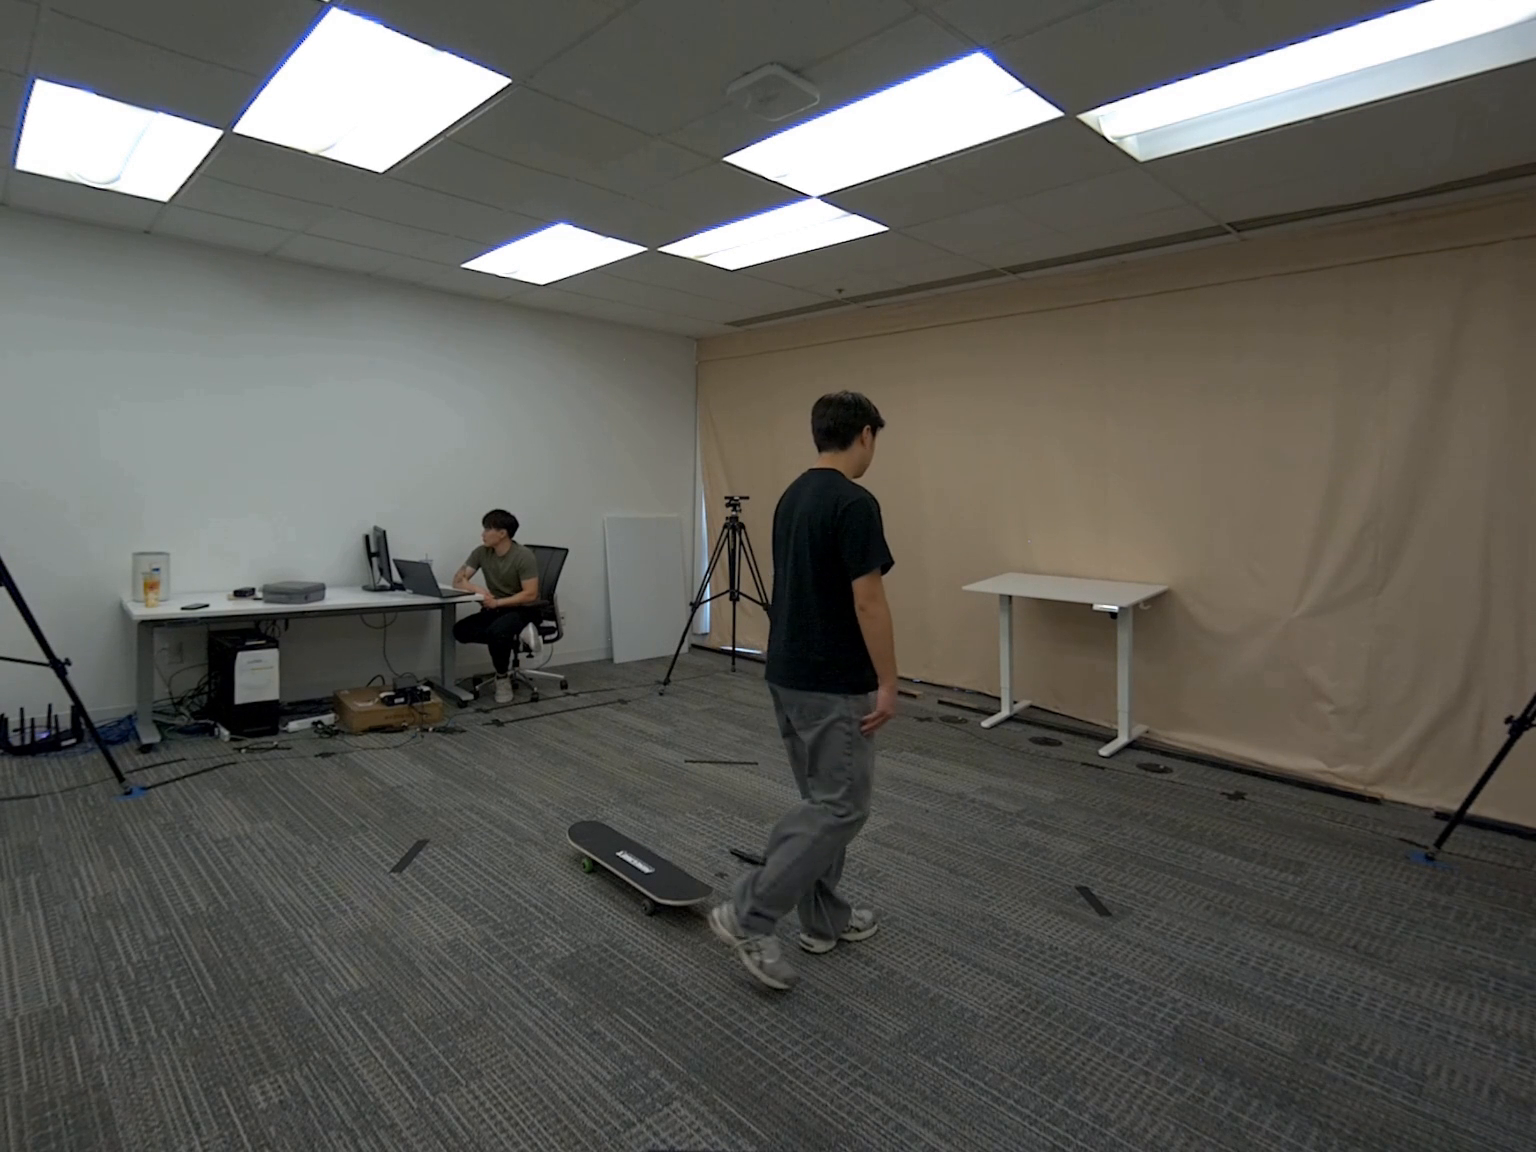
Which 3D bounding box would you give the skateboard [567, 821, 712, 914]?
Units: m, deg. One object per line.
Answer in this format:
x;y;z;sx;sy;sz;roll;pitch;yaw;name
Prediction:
-0.486;1.055;3.004;0.189;0.110;0.806;-2;7;-41;skateboard
